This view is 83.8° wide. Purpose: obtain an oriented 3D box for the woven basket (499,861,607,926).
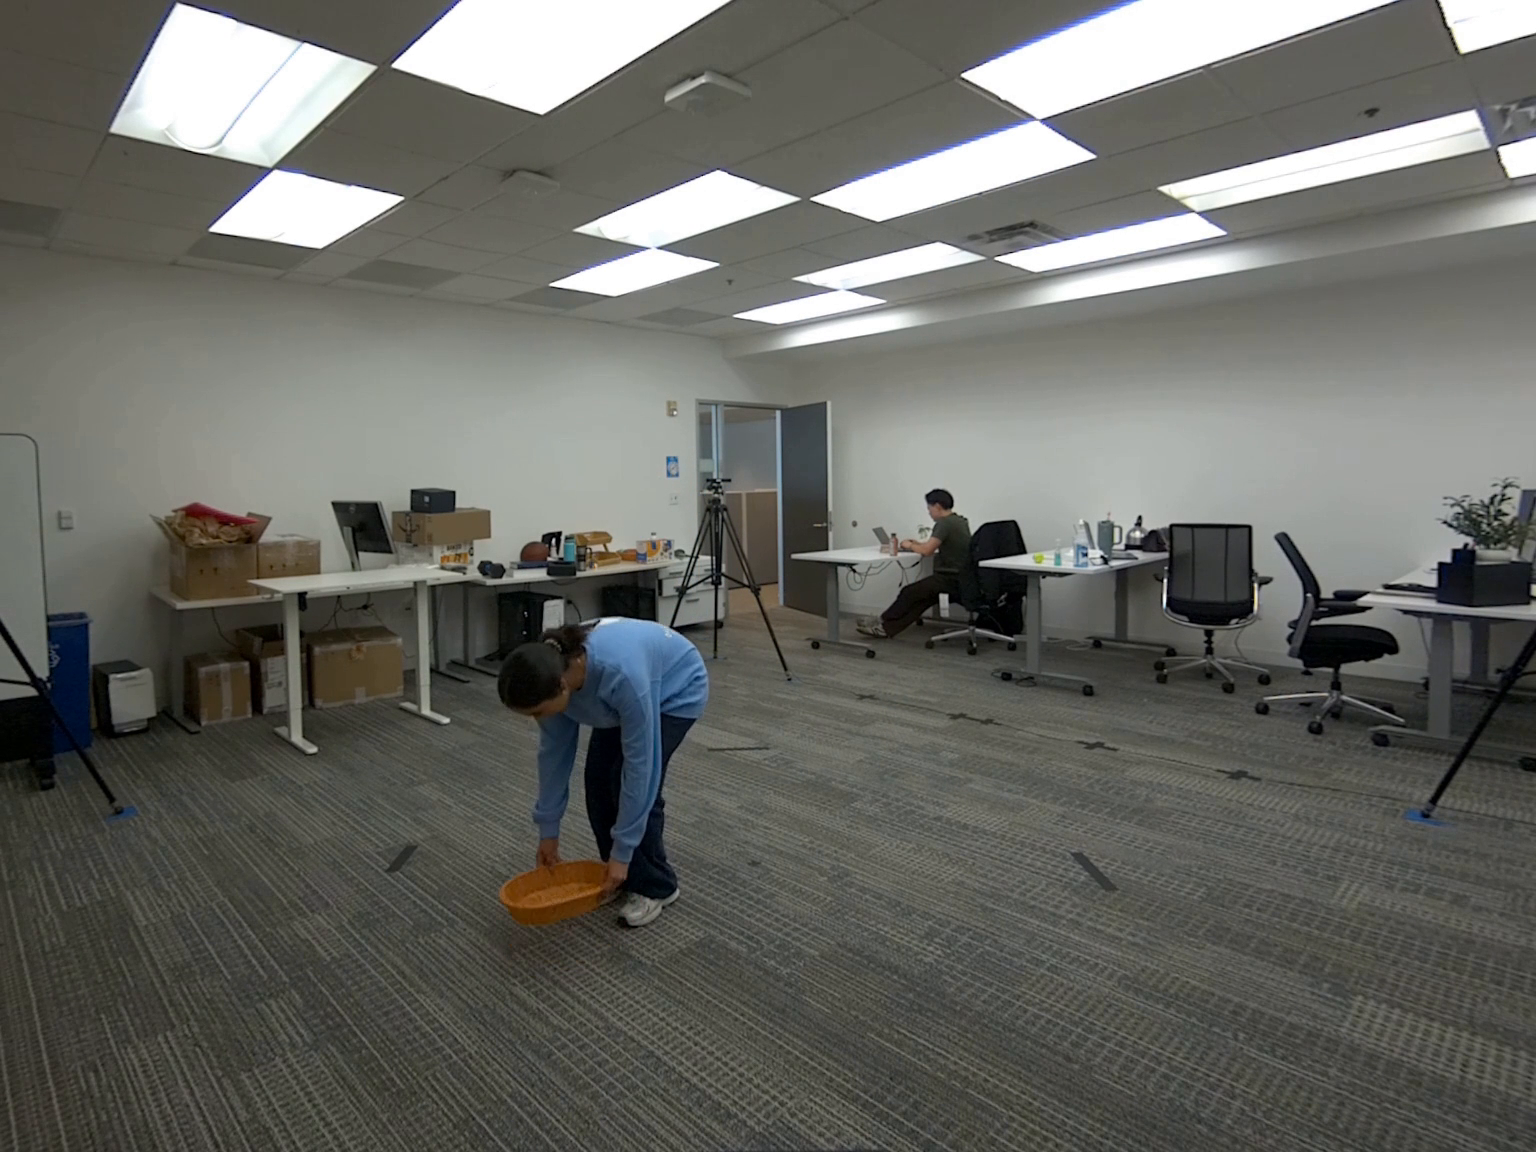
[{"bbox_3d":[-0.625,0.947,2.555,0.344,0.073,0.258,-6,7,-21],"label":"woven basket"}]
